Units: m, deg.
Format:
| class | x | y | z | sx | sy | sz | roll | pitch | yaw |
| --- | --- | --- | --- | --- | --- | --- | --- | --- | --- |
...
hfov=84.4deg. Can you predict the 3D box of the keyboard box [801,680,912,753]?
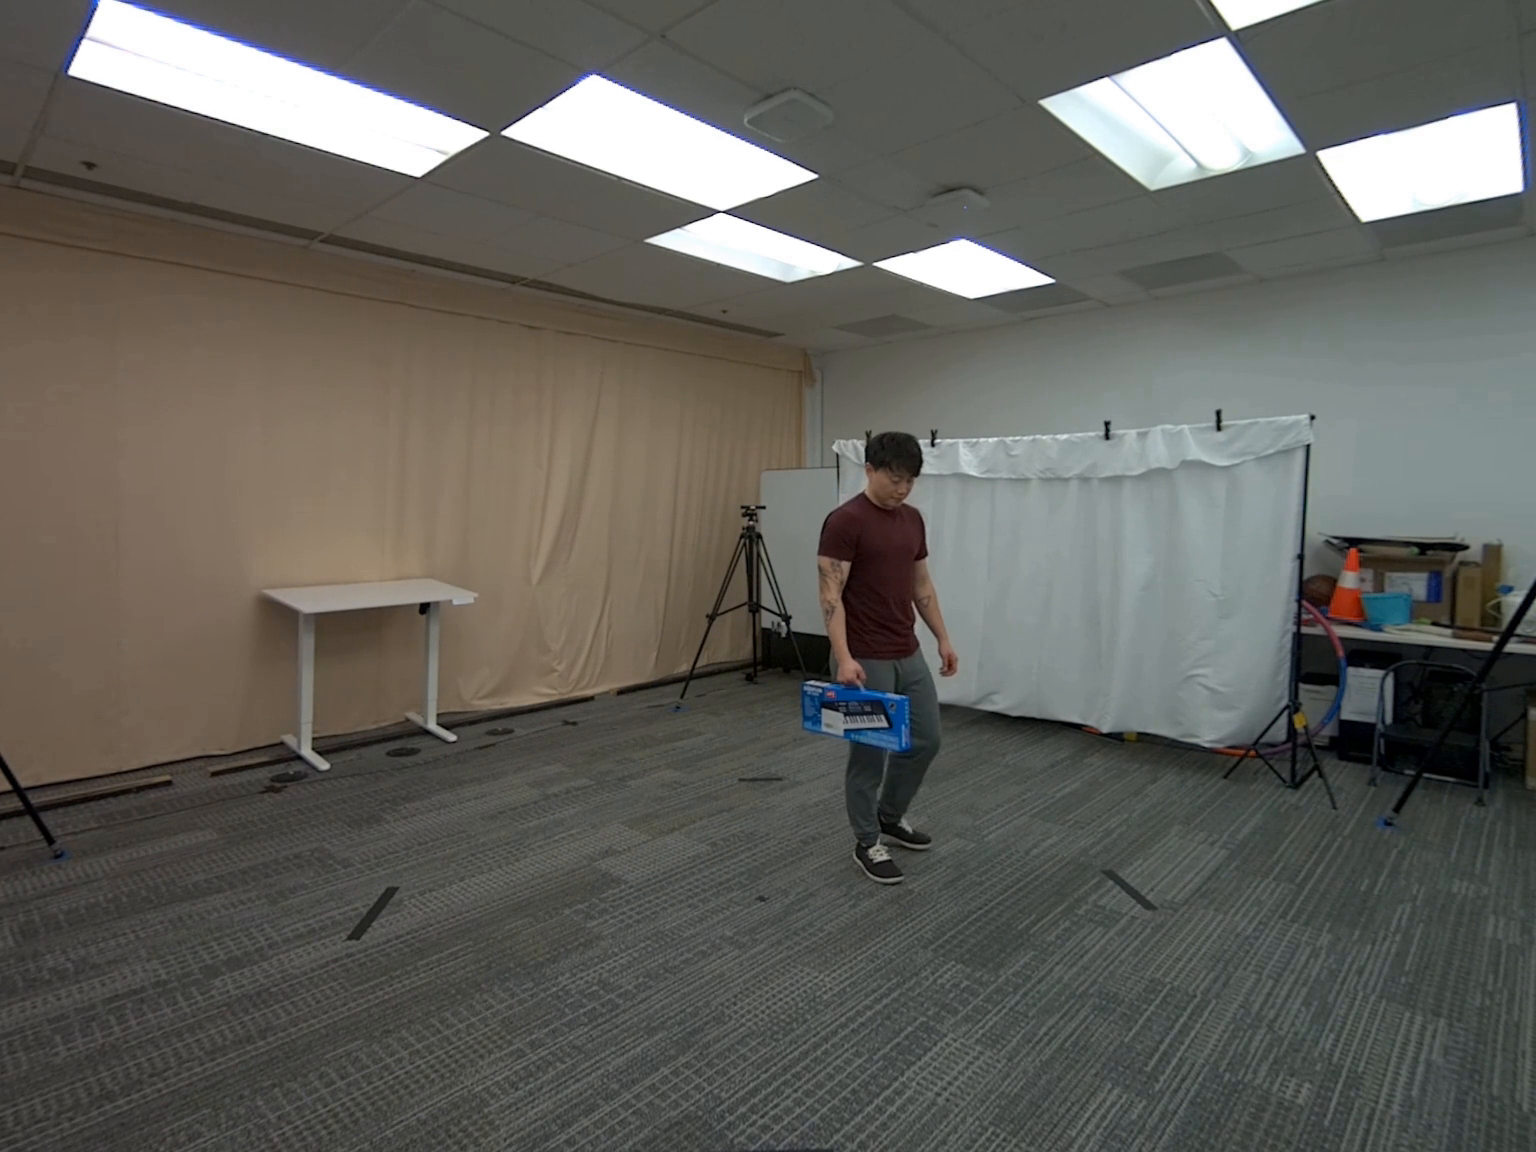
| class | x | y | z | sx | sy | sz | roll | pitch | yaw |
| --- | --- | --- | --- | --- | --- | --- | --- | --- | --- |
| keyboard box | 0.301 | 0.483 | 2.942 | 0.057 | 0.175 | 0.451 | -4 | 4 | -43 |
